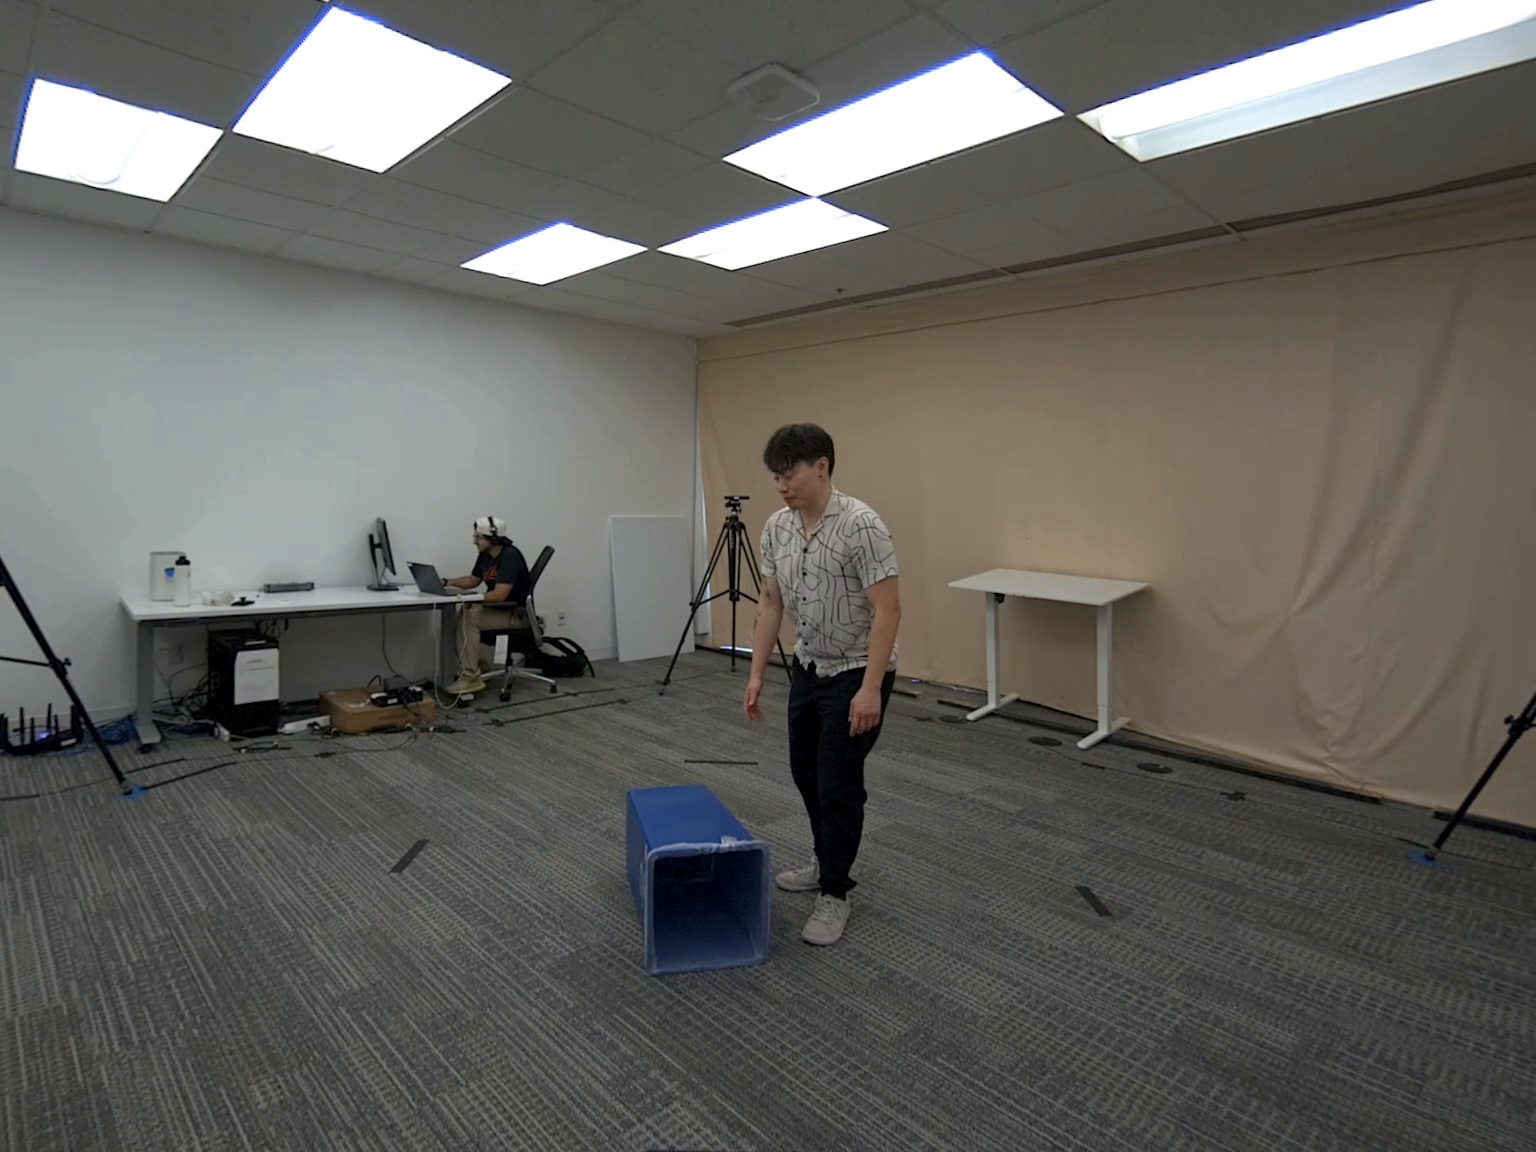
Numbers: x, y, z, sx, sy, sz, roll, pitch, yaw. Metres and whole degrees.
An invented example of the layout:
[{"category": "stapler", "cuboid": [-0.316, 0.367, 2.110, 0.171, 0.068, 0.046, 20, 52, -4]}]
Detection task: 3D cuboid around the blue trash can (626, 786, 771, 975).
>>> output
[{"category": "blue trash can", "cuboid": [-0.272, 0.961, 2.810, 0.373, 0.374, 0.722, 1, 1, -16]}]
